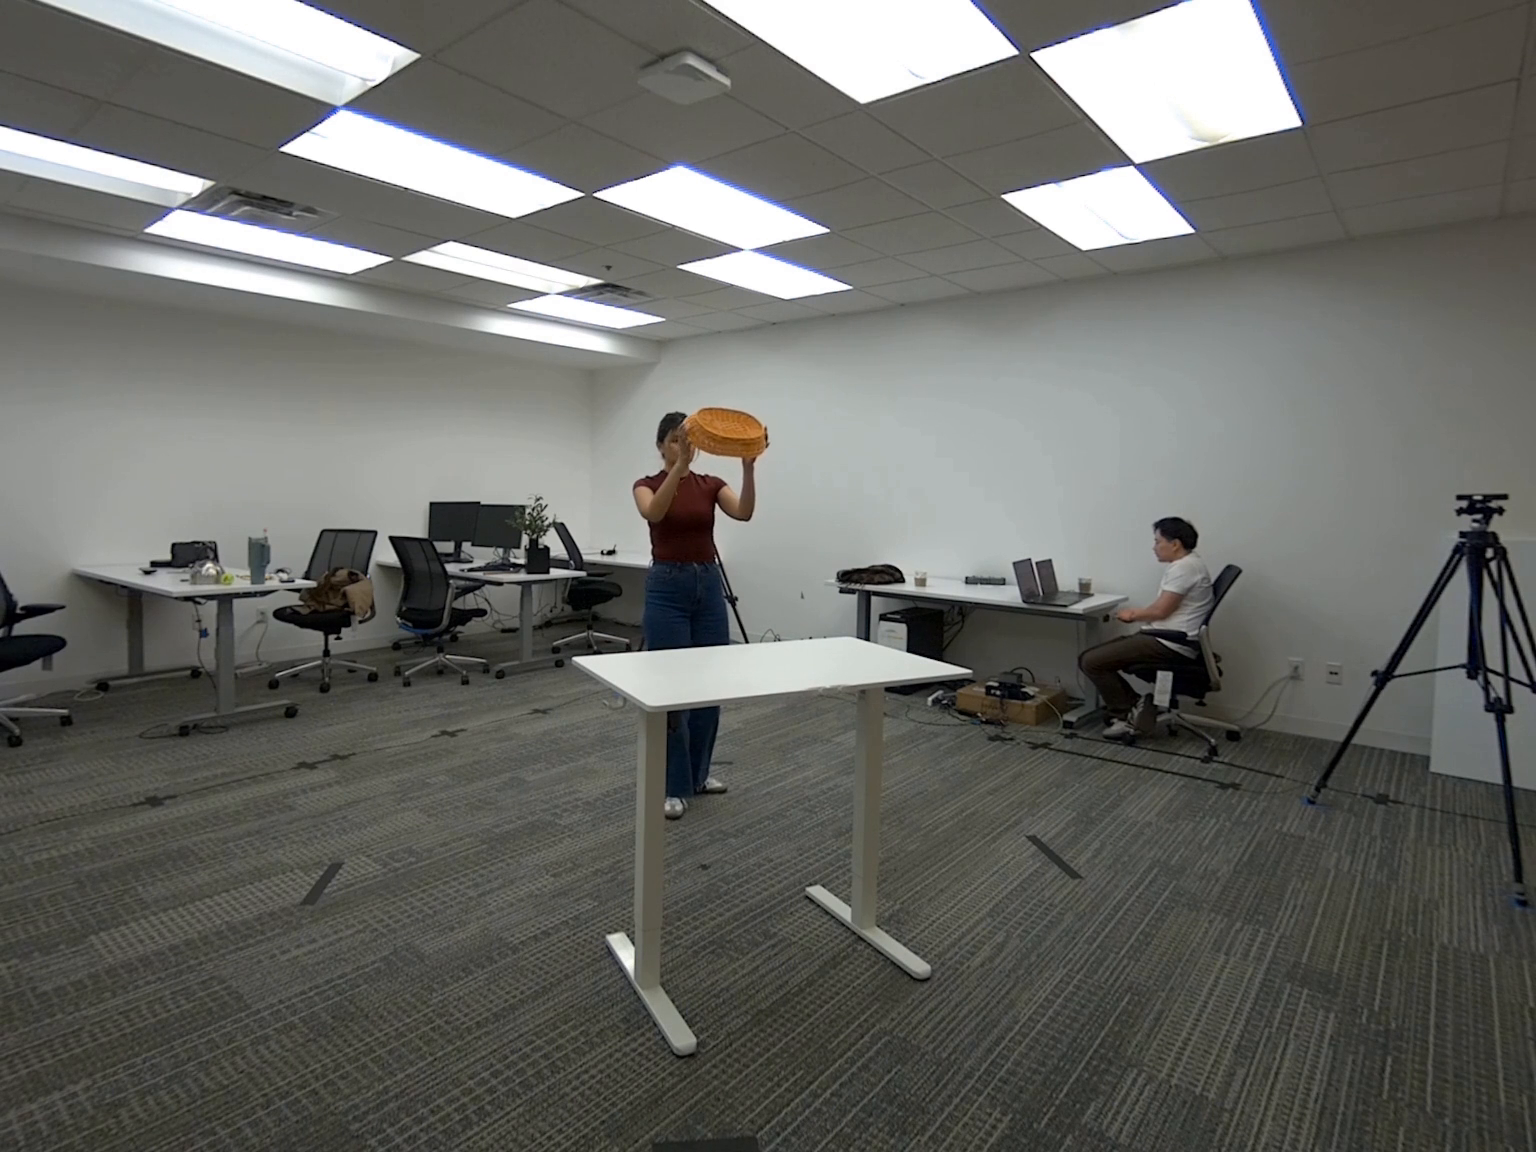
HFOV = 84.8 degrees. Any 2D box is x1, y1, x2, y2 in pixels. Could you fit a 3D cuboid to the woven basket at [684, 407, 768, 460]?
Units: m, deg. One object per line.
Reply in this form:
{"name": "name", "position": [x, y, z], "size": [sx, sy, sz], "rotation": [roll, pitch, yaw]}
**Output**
{"name": "woven basket", "position": [-0.156, -0.570, 3.286], "size": [0.341, 0.072, 0.262], "rotation": [-1, 48, -28]}
